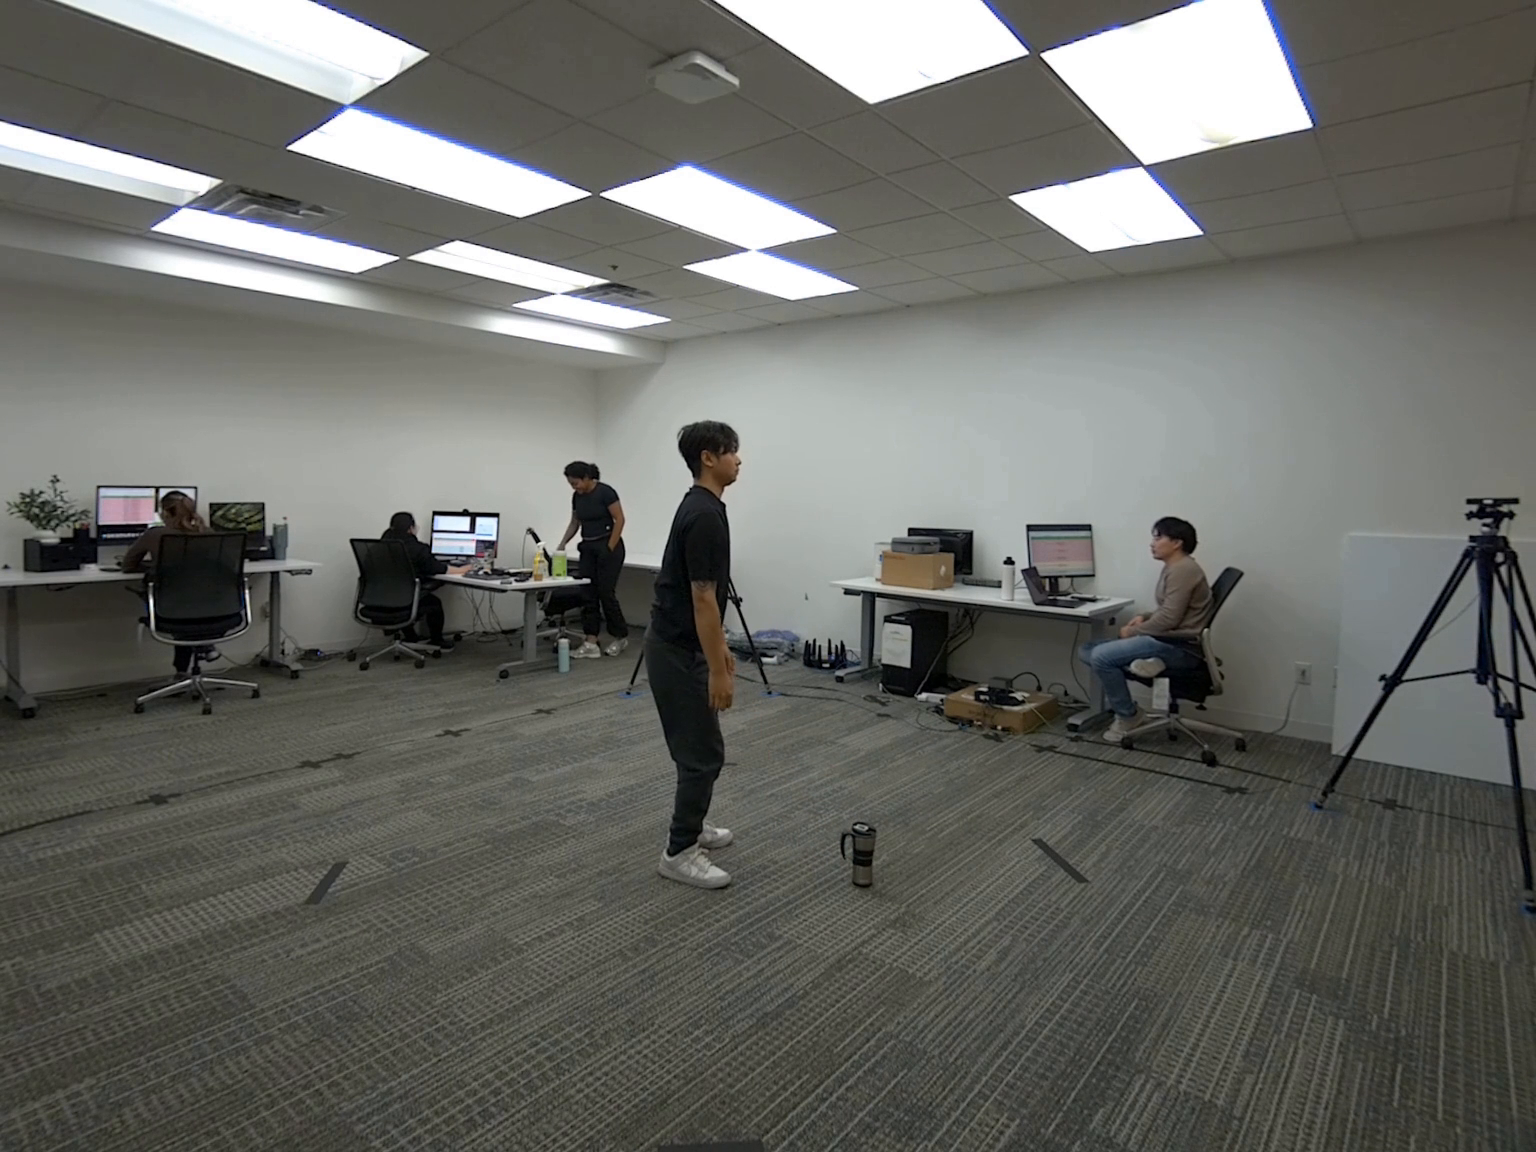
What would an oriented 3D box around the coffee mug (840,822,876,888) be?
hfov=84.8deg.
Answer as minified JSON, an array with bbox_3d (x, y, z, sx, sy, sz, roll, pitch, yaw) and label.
[{"bbox_3d":[0.317,0.990,3.029,0.126,0.202,0.085,8,9,36],"label":"coffee mug"}]
